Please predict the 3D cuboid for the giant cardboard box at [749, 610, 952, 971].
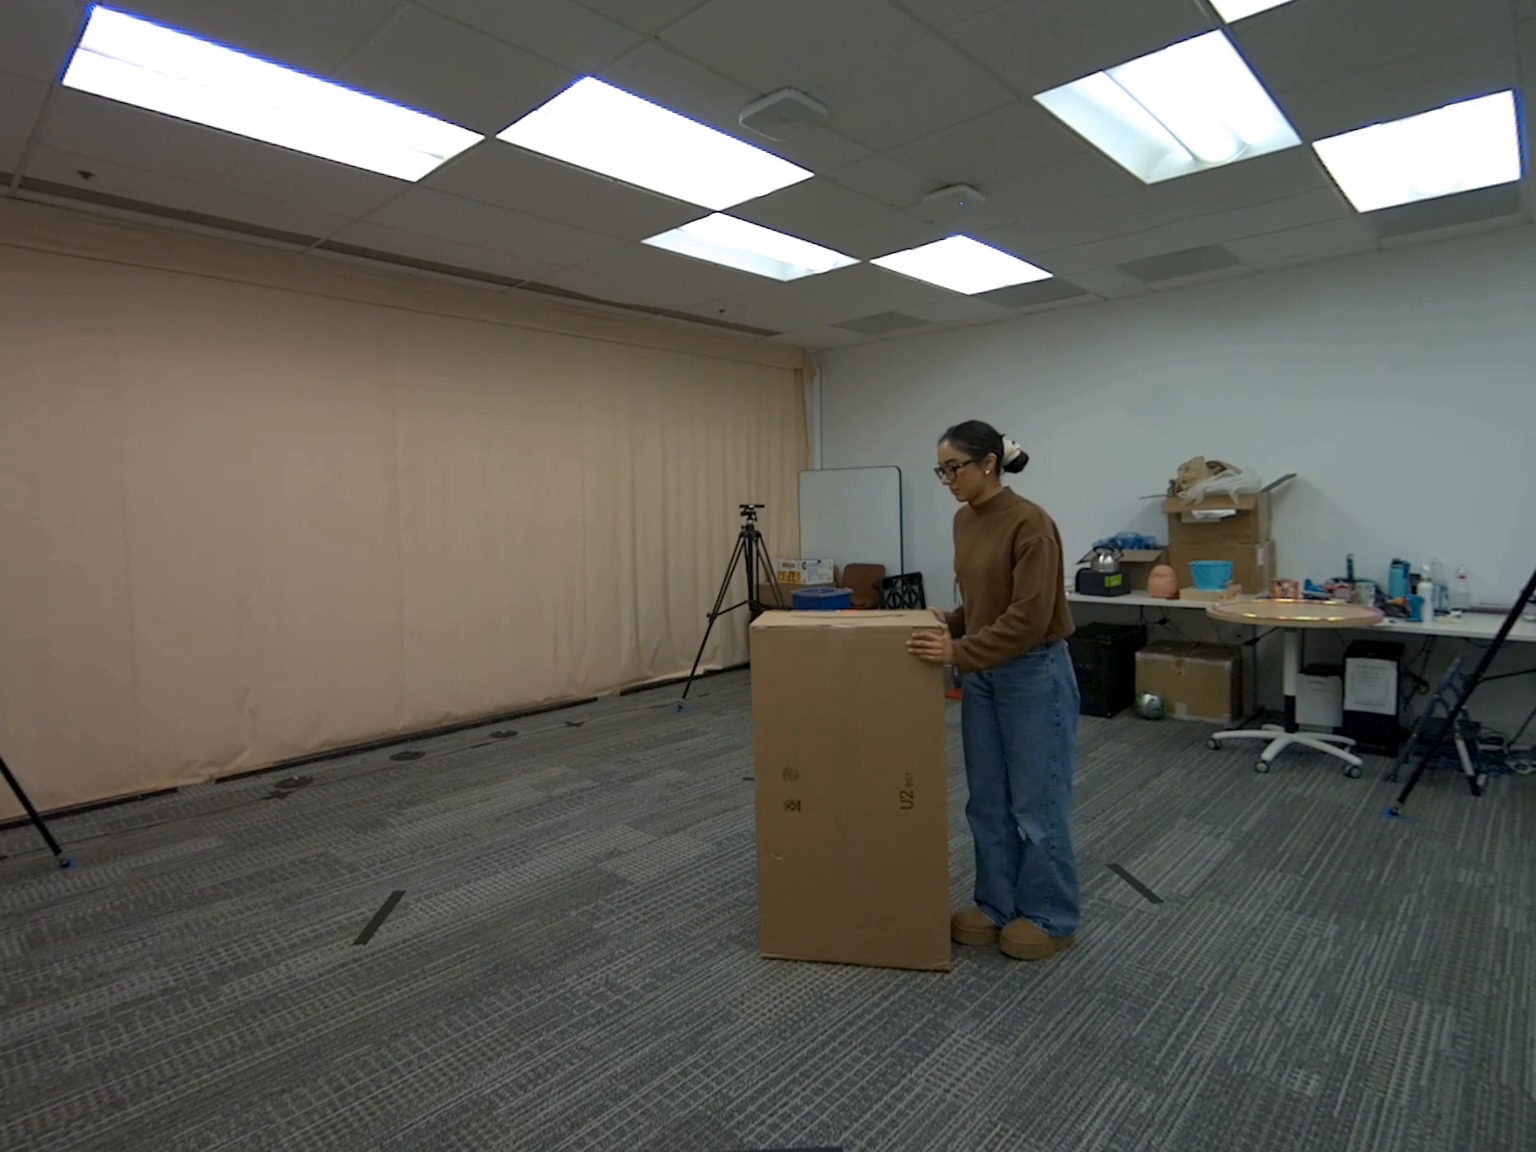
[{"bbox_3d":[0.272,0.644,2.730,0.584,1.024,0.422,-1,2,10],"label":"giant cardboard box"}]
